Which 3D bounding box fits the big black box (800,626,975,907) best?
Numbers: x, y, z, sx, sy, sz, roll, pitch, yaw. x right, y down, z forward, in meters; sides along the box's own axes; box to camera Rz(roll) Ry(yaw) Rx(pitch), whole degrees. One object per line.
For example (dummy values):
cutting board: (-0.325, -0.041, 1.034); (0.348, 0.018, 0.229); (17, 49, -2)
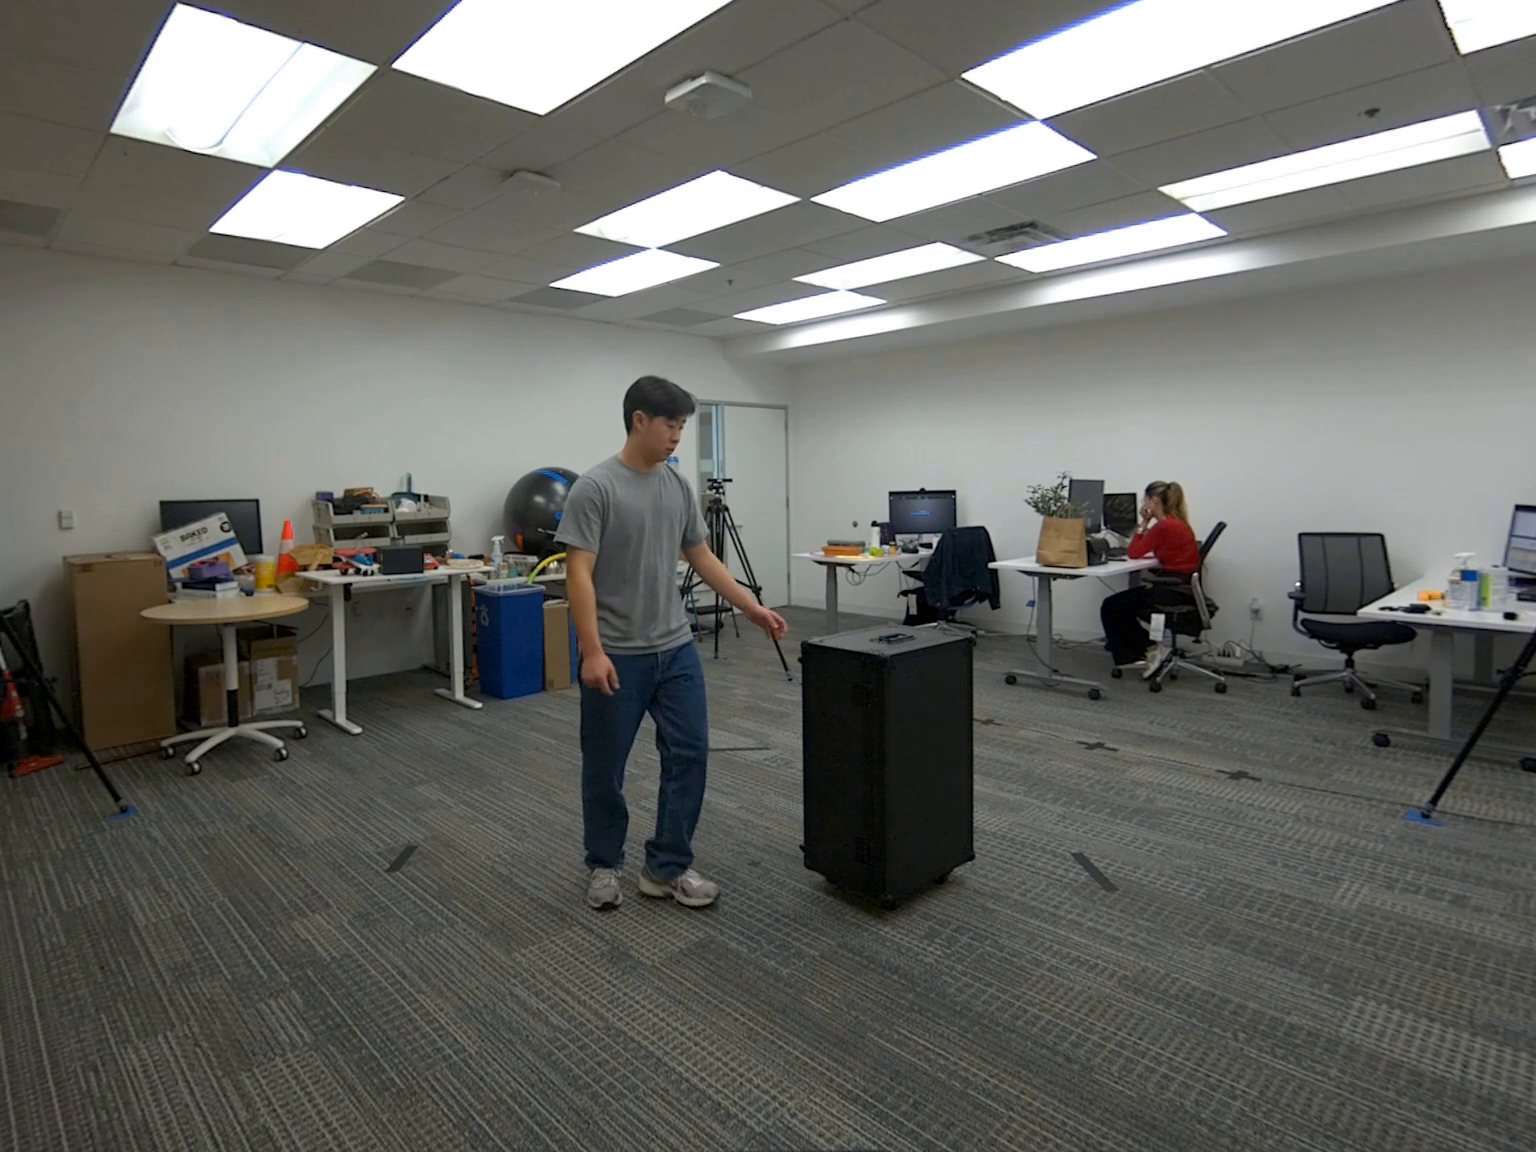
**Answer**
big black box: (0.407, 0.637, 2.916); (0.508, 0.858, 0.408); (-6, 6, -42)
